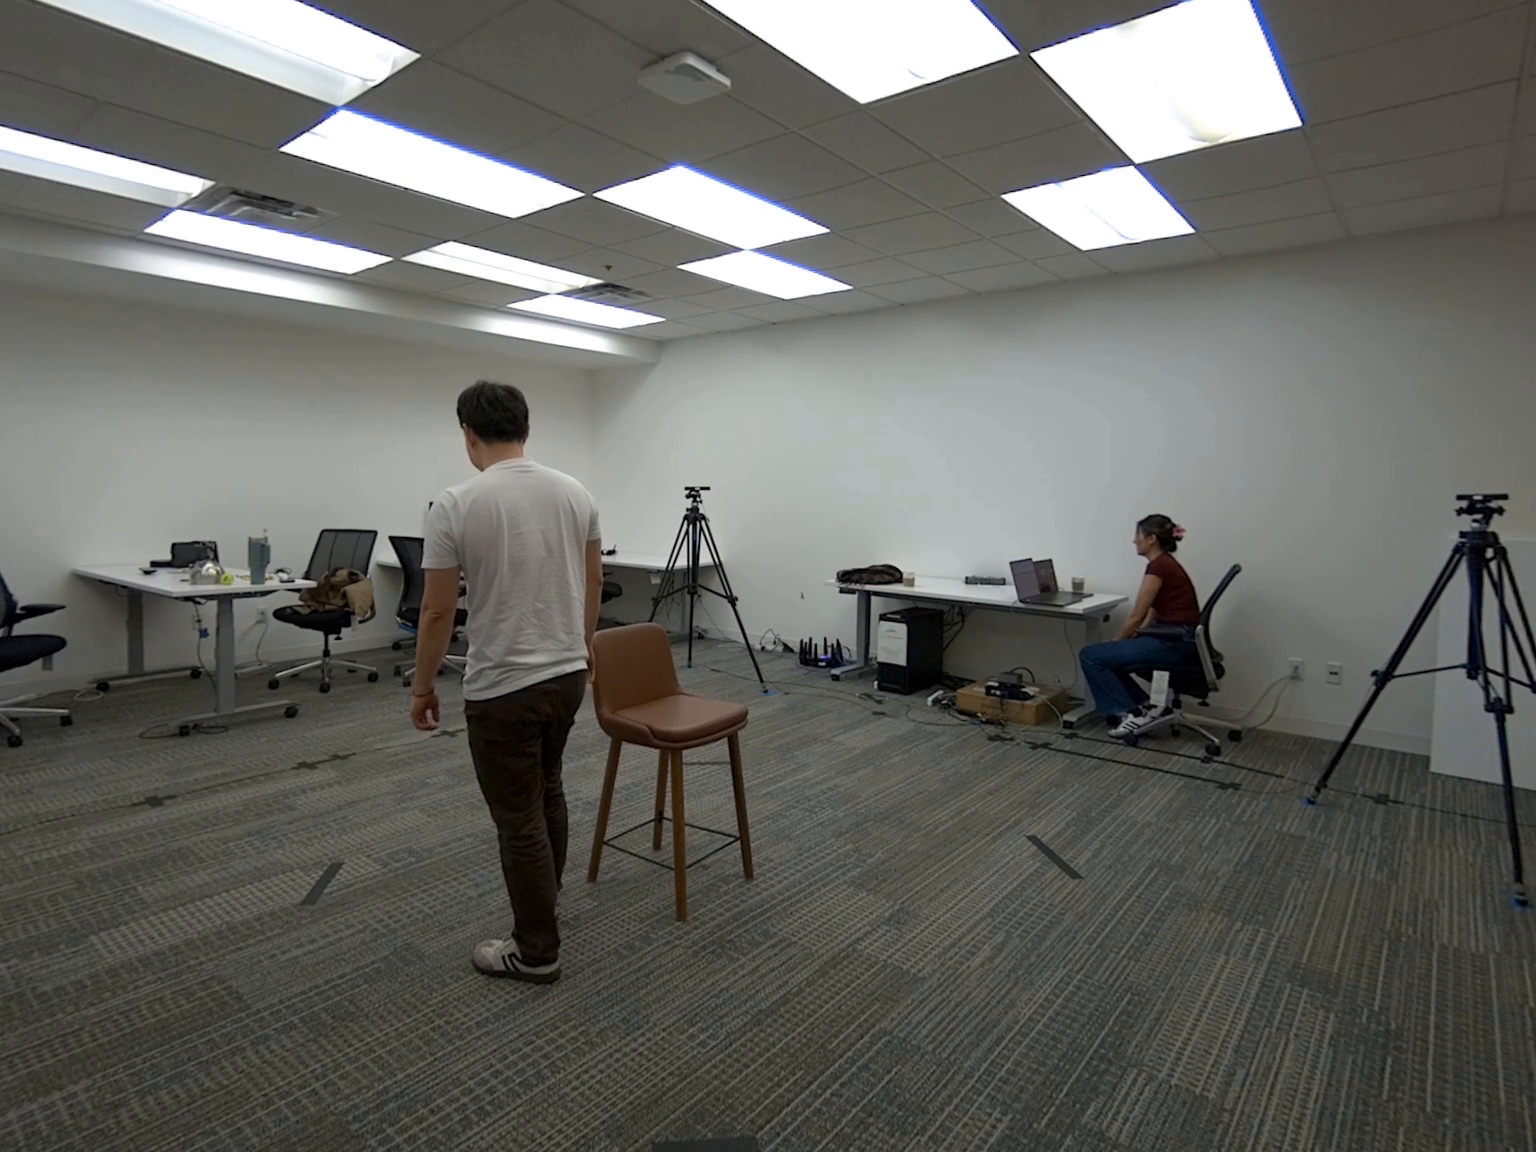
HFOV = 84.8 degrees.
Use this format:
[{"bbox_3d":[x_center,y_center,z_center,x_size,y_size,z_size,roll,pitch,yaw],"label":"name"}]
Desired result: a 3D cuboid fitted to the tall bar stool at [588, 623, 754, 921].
[{"bbox_3d":[-0.354,0.639,2.993,0.482,0.888,0.443,1,2,35],"label":"tall bar stool"}]
